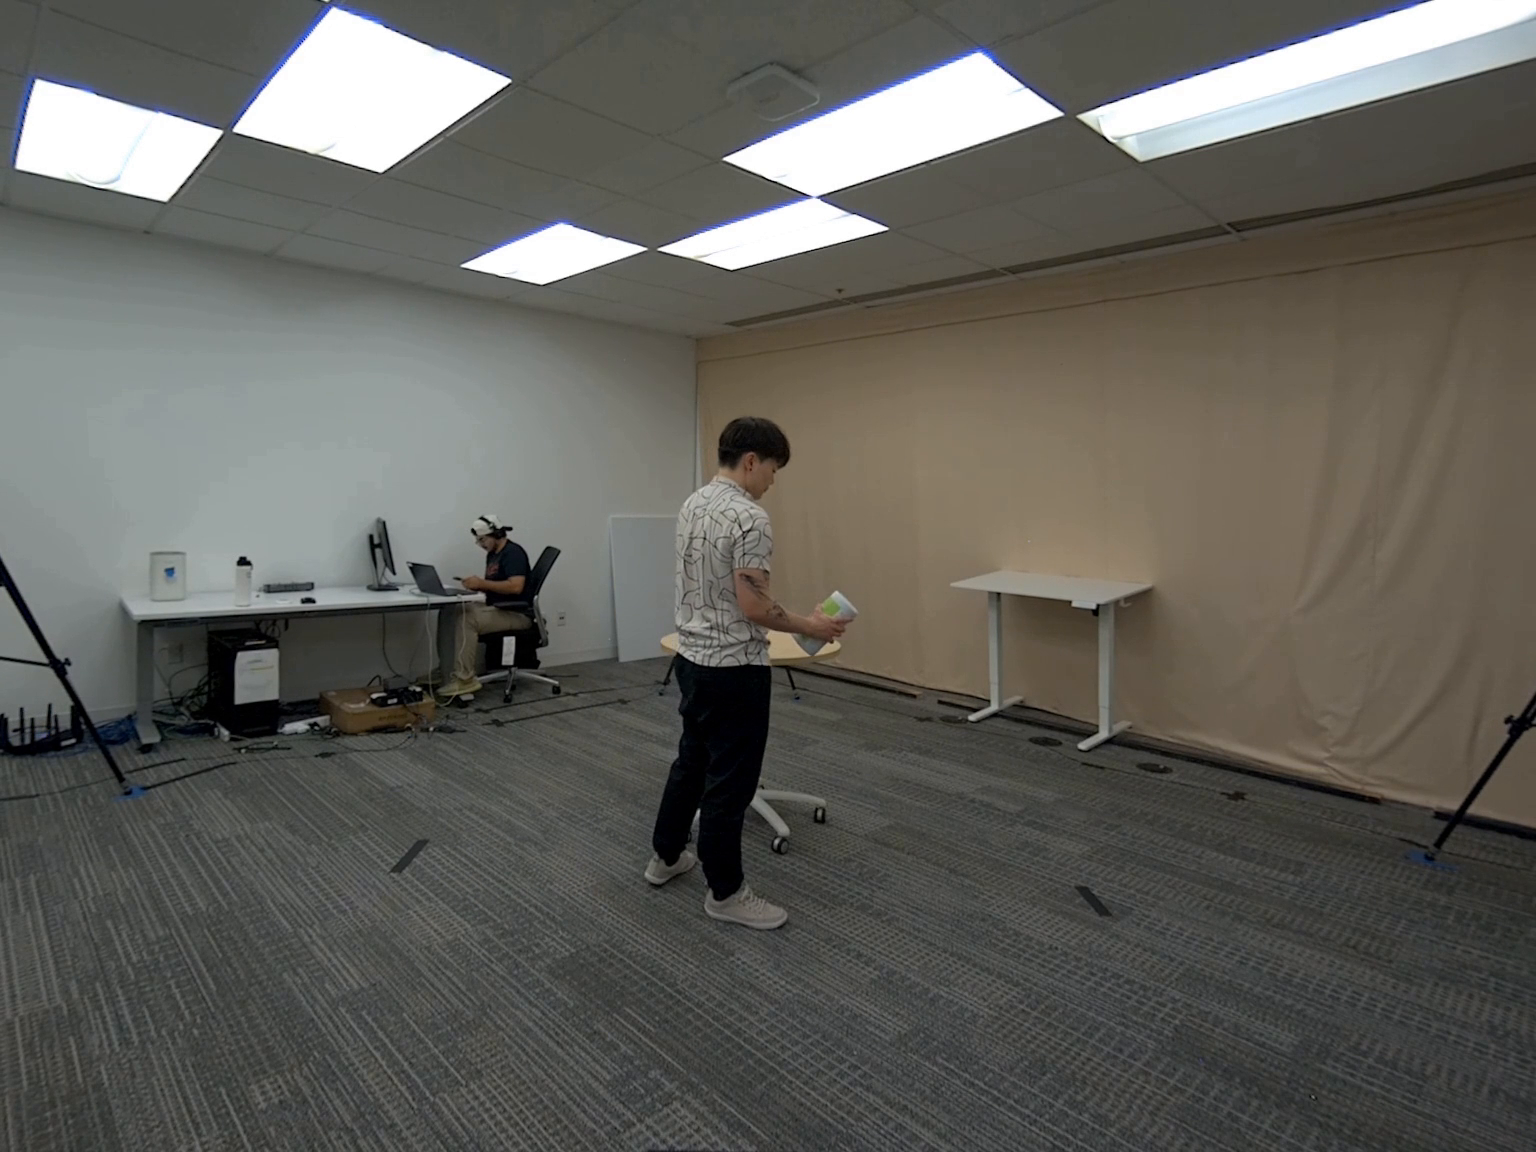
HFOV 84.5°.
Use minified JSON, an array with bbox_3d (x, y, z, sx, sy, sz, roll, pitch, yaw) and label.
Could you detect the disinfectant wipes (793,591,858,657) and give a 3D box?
[{"bbox_3d":[0.182,0.157,2.818,0.217,0.118,0.118,-42,1,5],"label":"disinfectant wipes"}]
